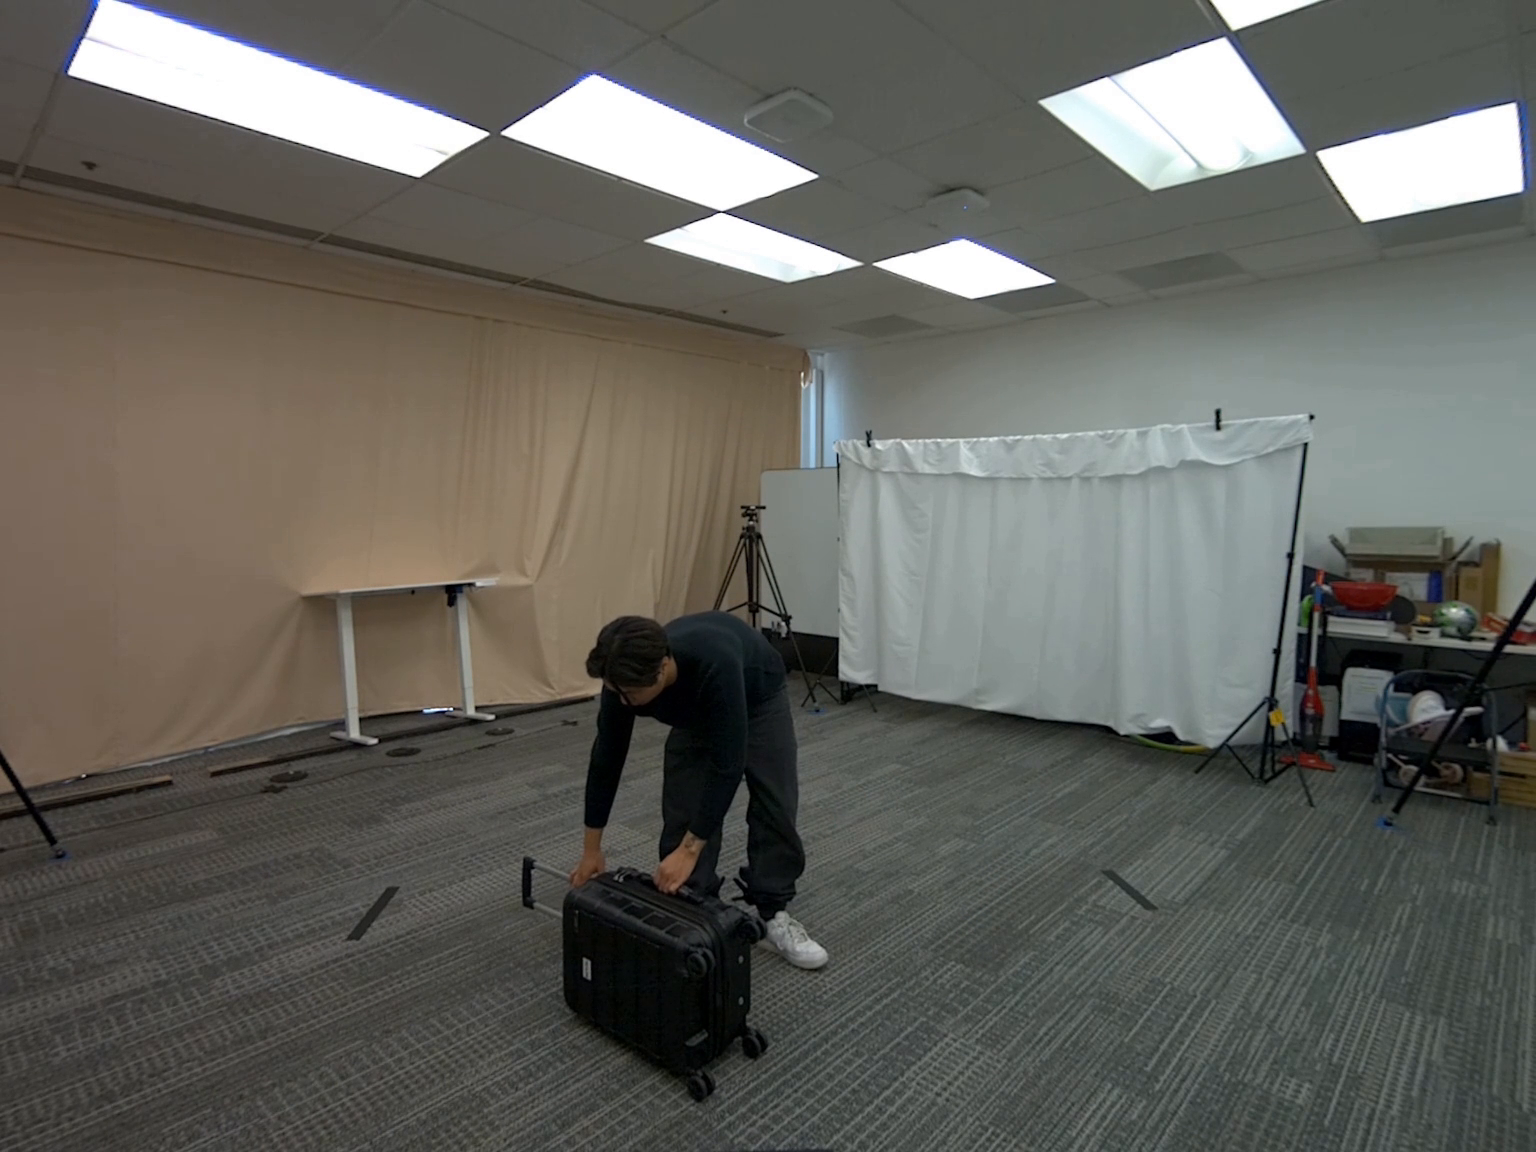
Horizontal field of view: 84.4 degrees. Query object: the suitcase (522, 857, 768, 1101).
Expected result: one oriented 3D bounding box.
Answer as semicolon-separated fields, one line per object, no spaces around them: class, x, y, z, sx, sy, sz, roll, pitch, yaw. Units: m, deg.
suitcase;-0.455;1.015;2.346;1.010;0.383;0.249;2;3;37
